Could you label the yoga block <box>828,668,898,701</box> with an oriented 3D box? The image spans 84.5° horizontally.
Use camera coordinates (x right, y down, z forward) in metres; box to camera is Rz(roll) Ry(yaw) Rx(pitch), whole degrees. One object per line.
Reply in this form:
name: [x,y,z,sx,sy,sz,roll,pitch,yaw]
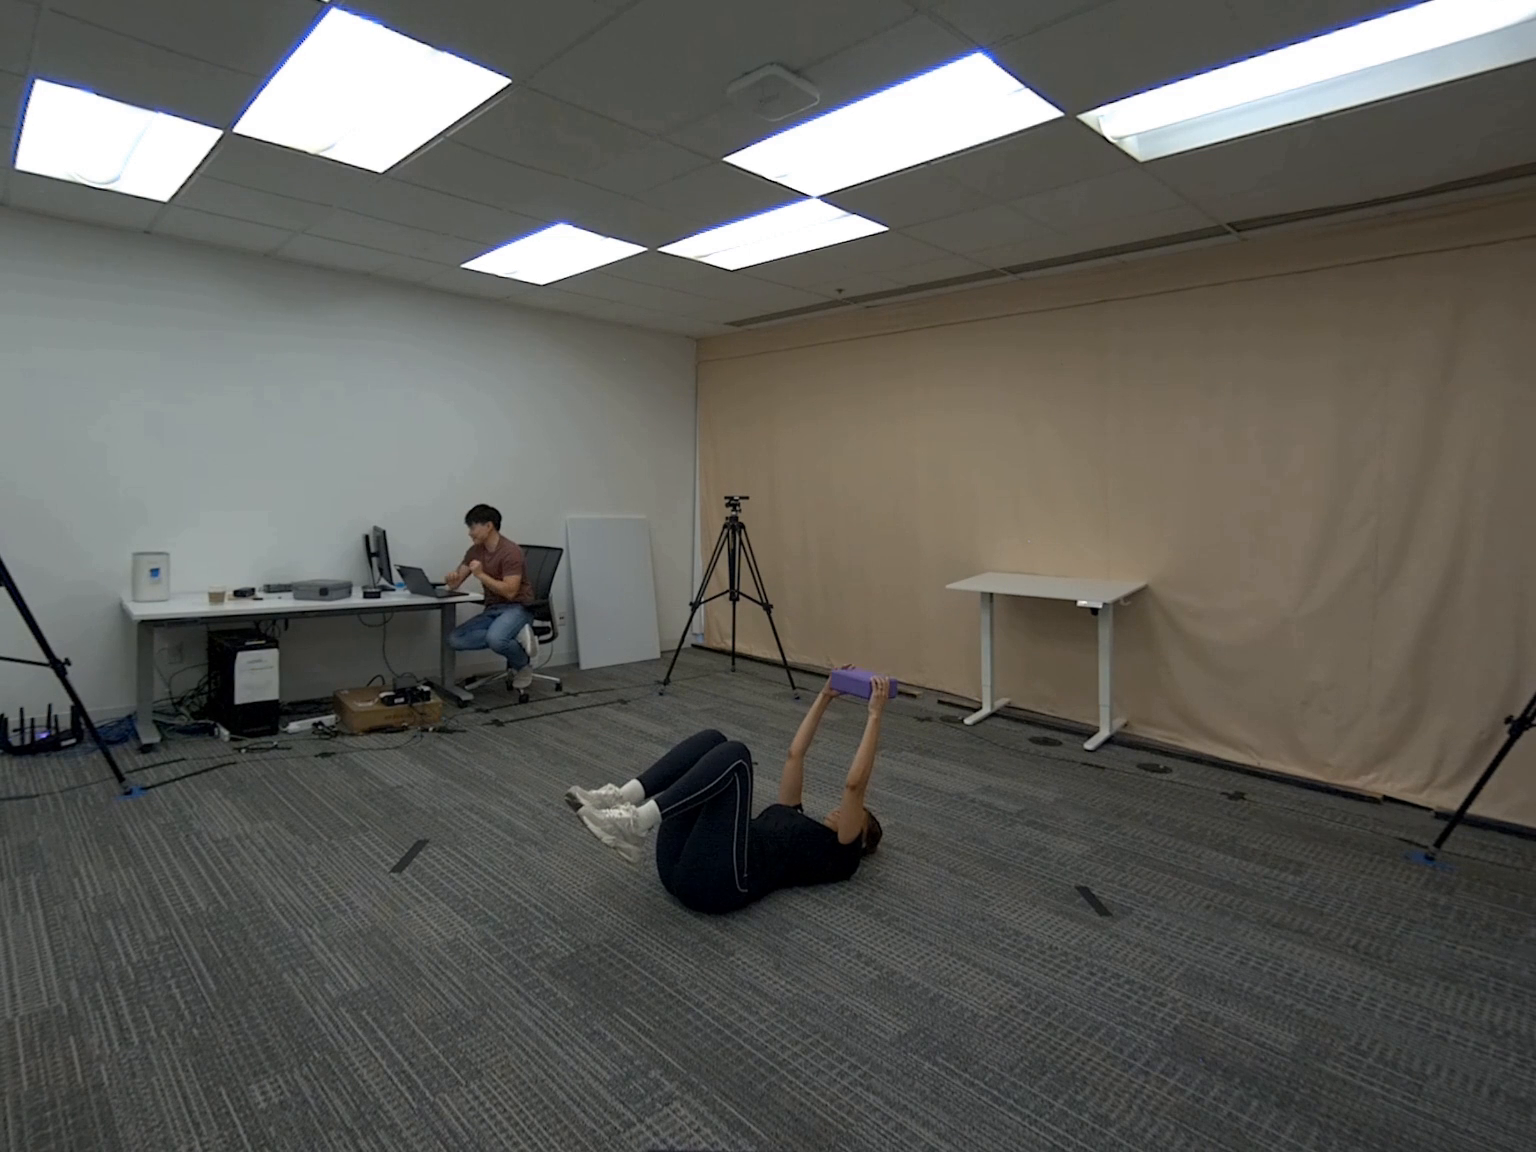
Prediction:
yoga block: [0.363,0.414,3.240,0.145,0.076,0.235,3,3,-35]
